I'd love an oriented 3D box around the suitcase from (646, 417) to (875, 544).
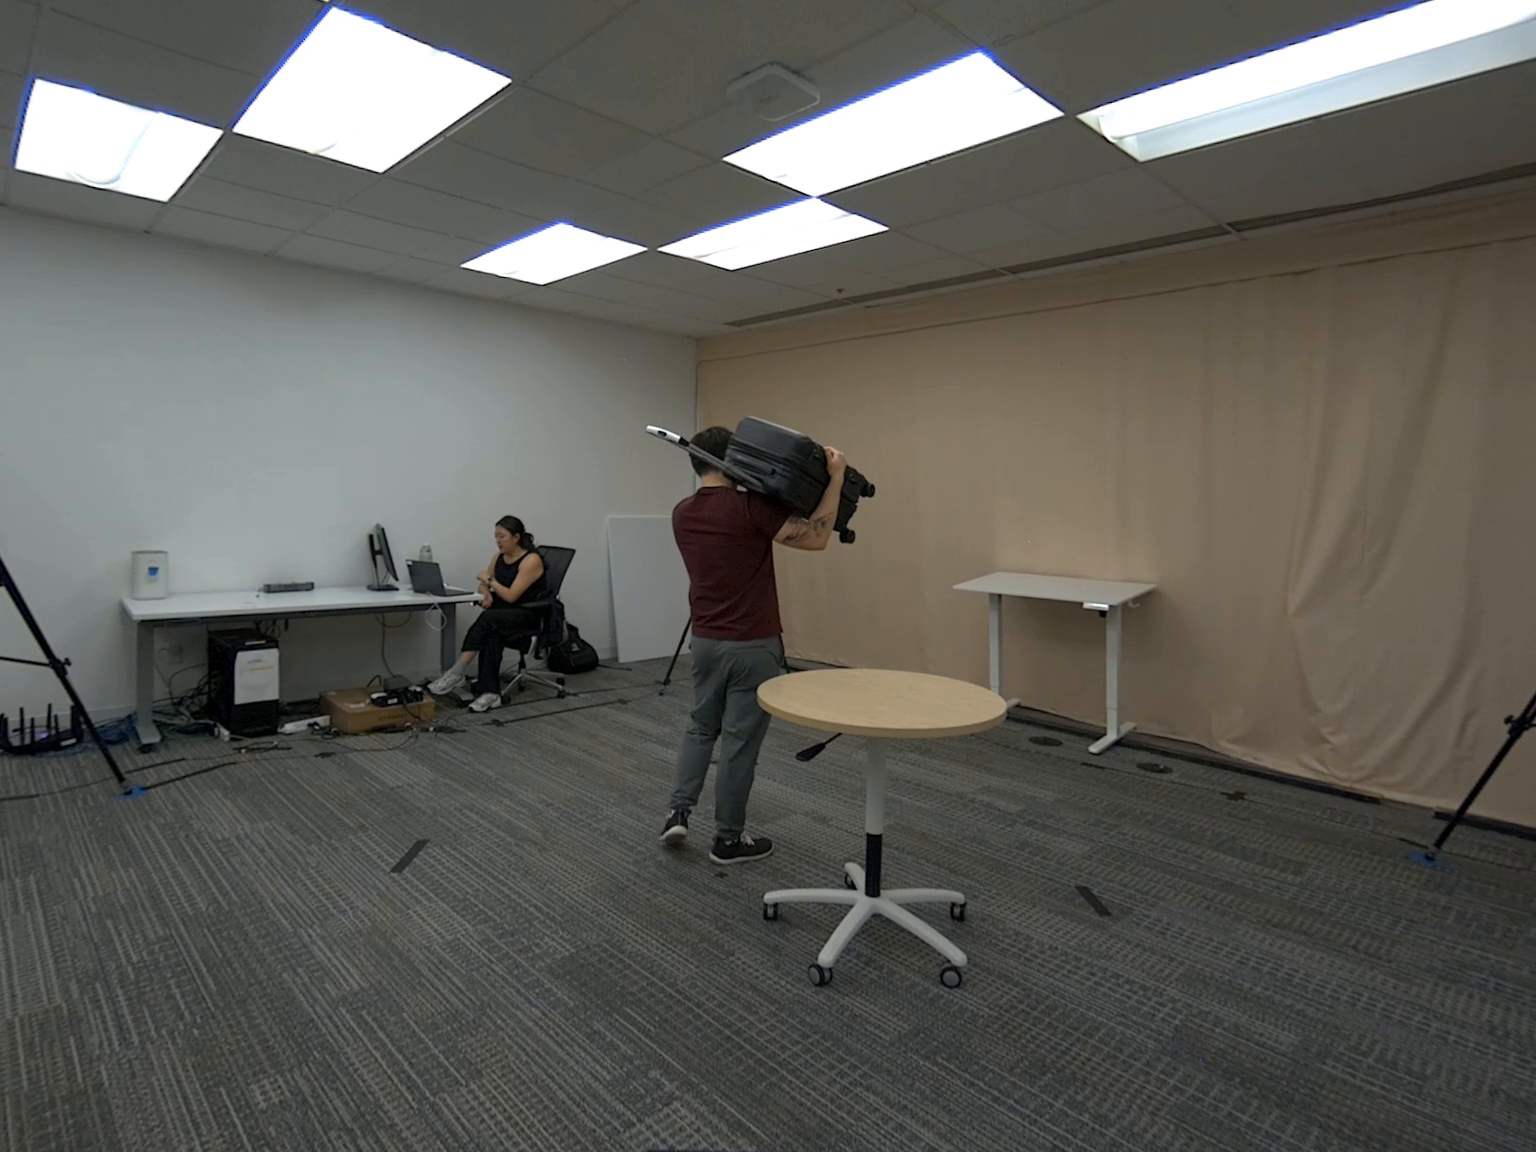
[{"bbox_3d":[-0.015,-0.430,3.004,0.396,0.257,0.949,28,1,39],"label":"suitcase"}]
